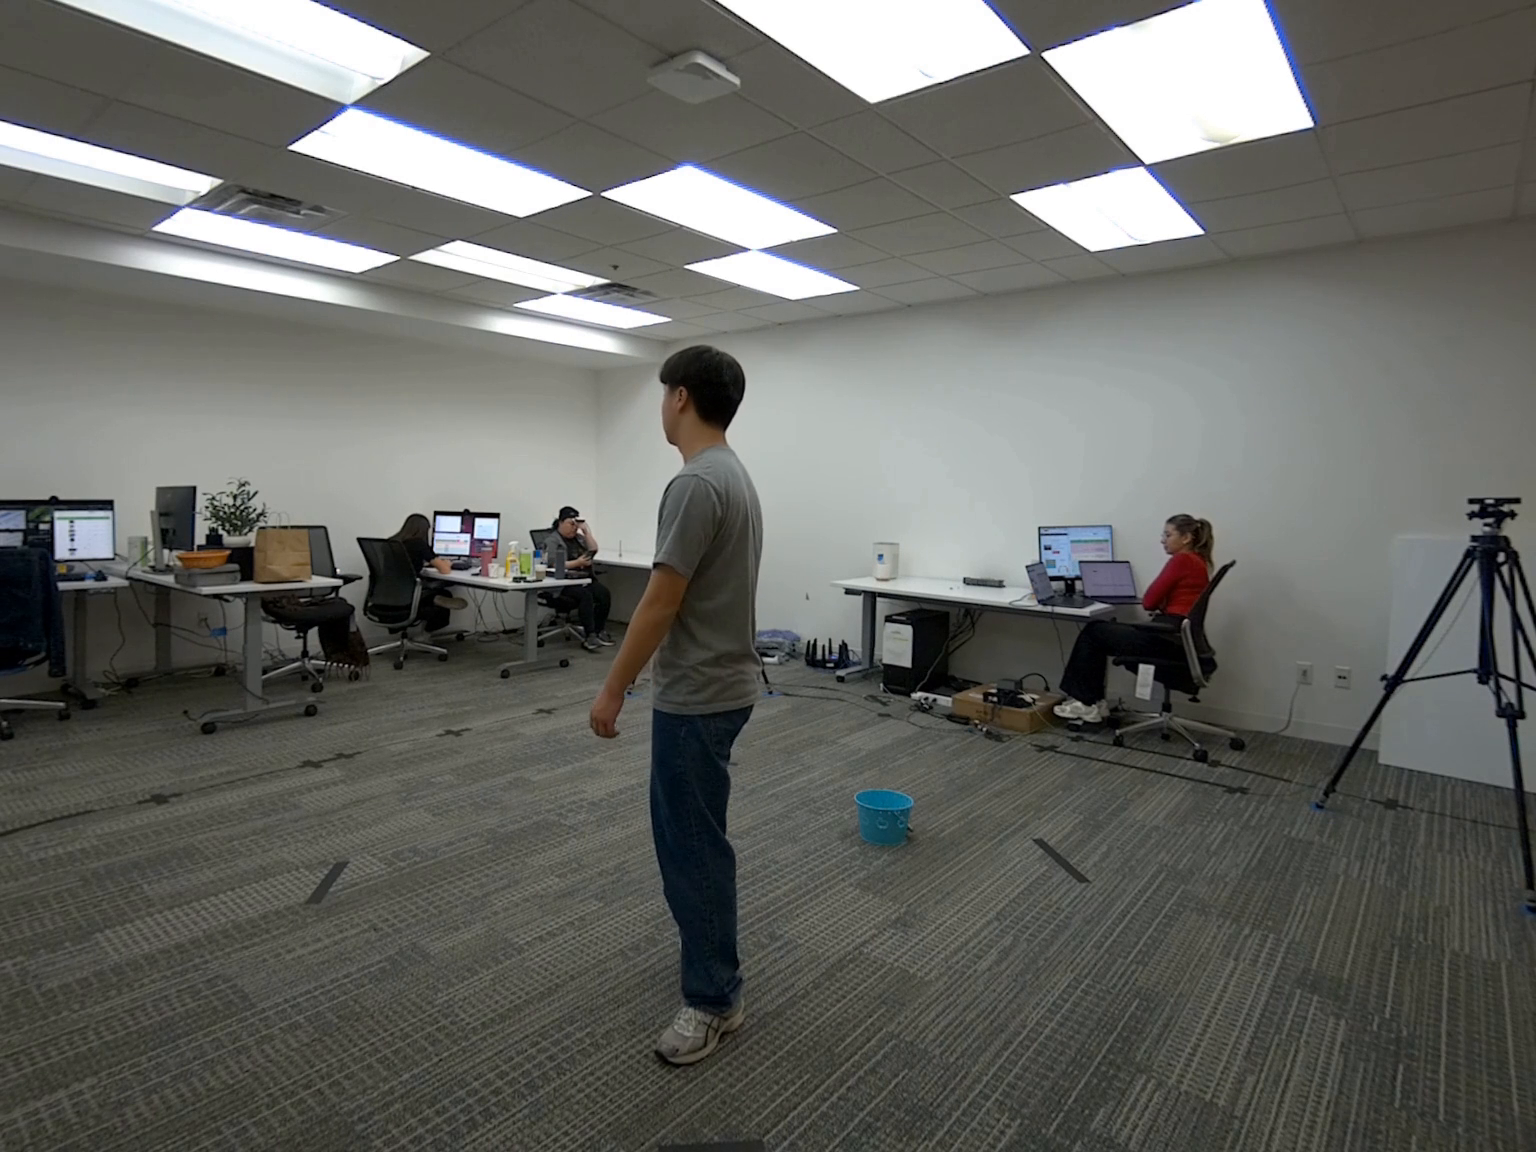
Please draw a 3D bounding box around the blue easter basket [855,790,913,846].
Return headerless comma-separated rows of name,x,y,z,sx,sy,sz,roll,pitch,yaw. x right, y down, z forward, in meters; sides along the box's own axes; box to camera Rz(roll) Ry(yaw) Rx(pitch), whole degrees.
blue easter basket,0.461,0.971,3.431,0.243,0.155,0.245,0,5,-2
